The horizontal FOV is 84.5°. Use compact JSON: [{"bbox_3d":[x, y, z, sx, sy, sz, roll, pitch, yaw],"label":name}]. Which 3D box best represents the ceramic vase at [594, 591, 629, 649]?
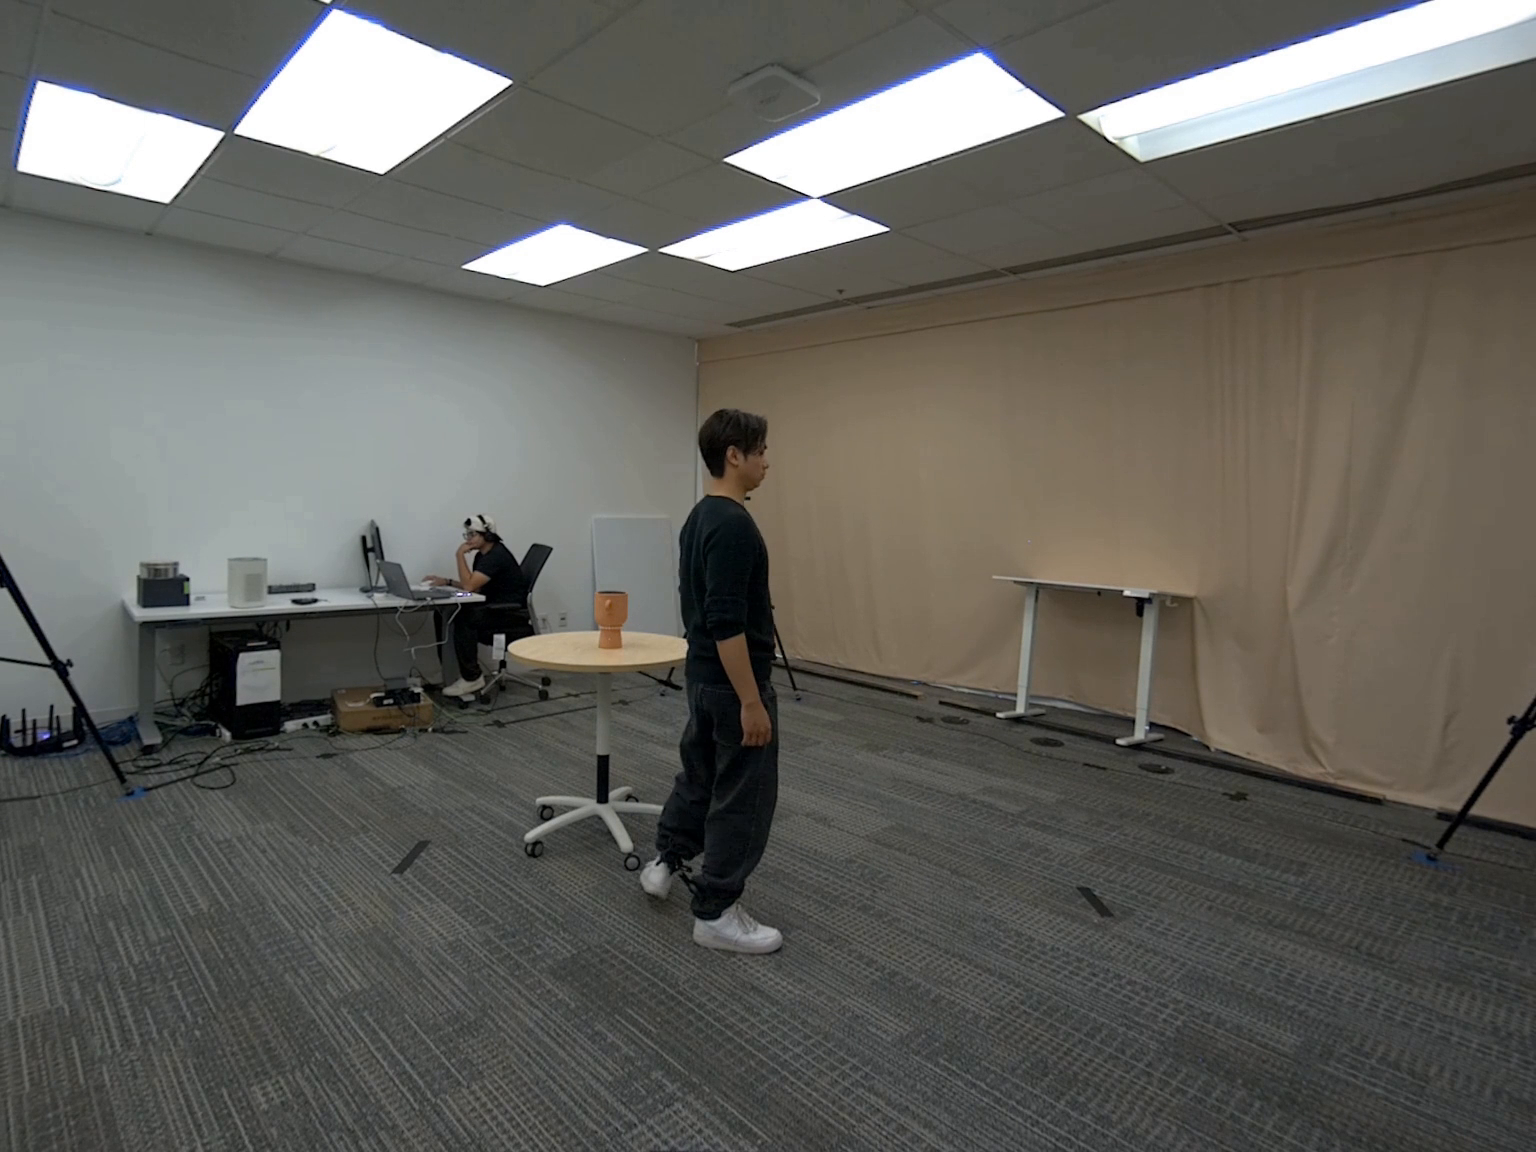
[{"bbox_3d":[-0.643,0.178,3.396,0.138,0.219,0.155,5,4,40],"label":"ceramic vase"}]
